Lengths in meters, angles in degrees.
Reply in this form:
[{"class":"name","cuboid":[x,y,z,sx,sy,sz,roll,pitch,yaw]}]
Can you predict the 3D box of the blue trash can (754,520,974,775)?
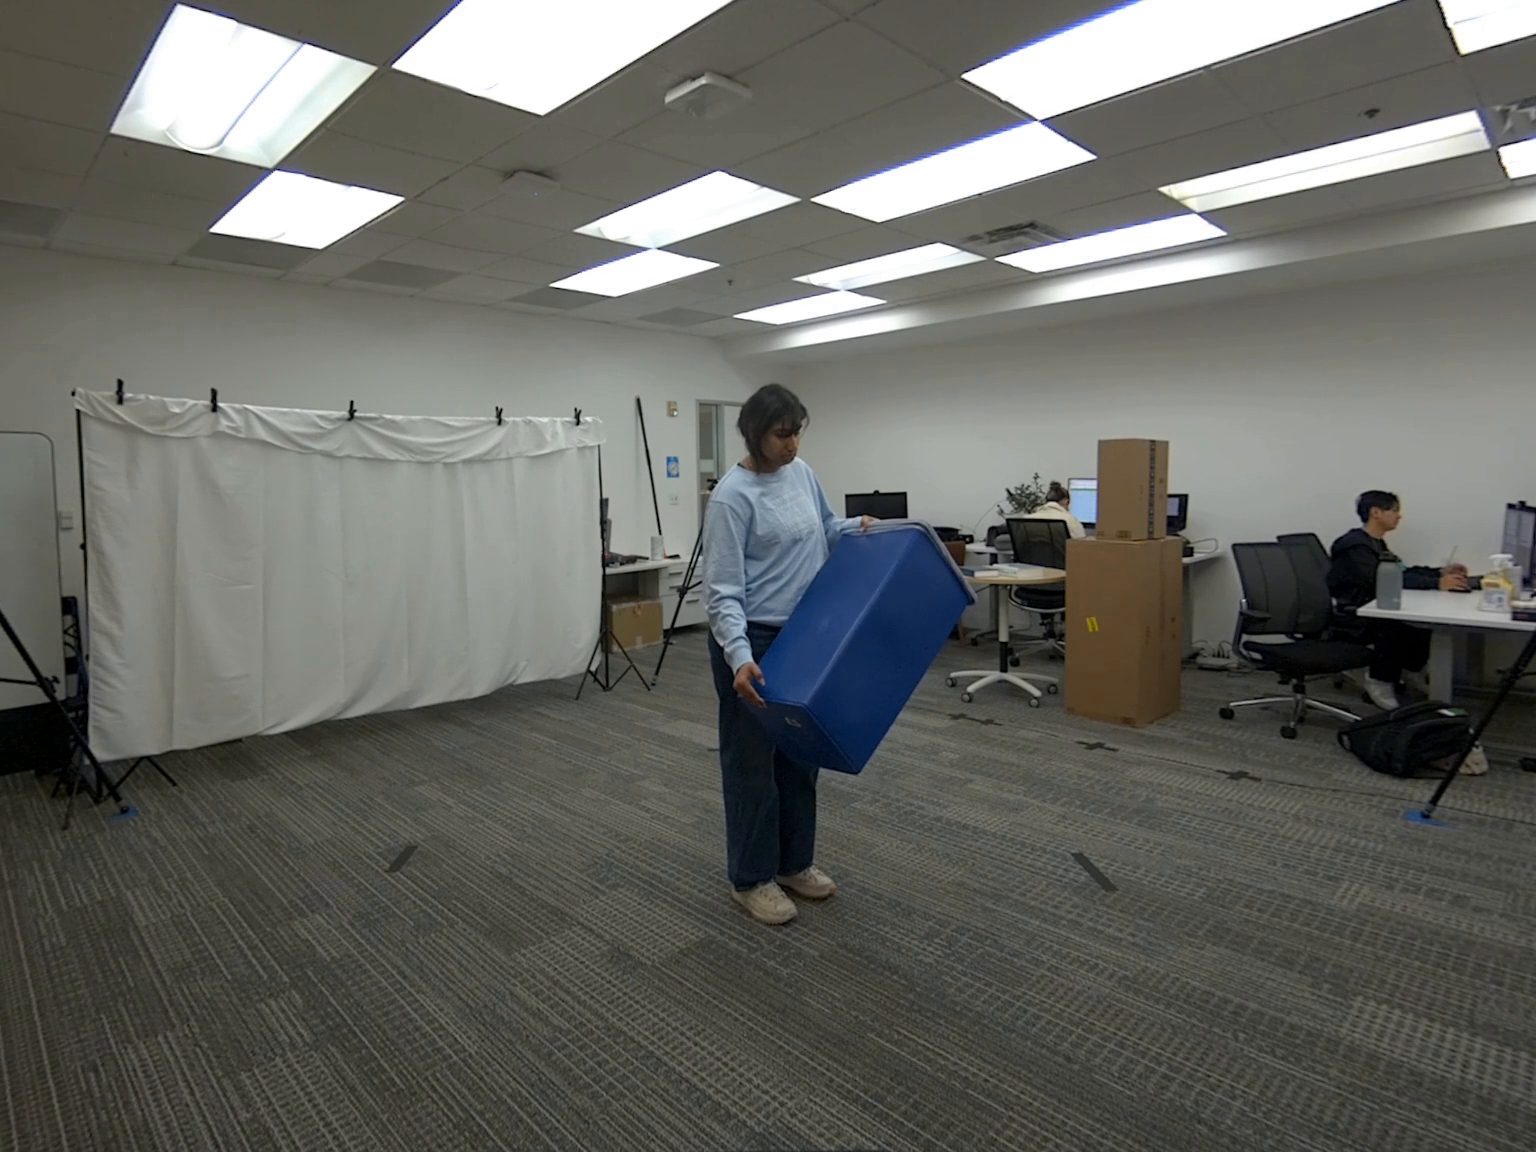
[{"class":"blue trash can","cuboid":[0.270,0.200,2.618,0.388,0.364,0.715,-5,40,51]}]
